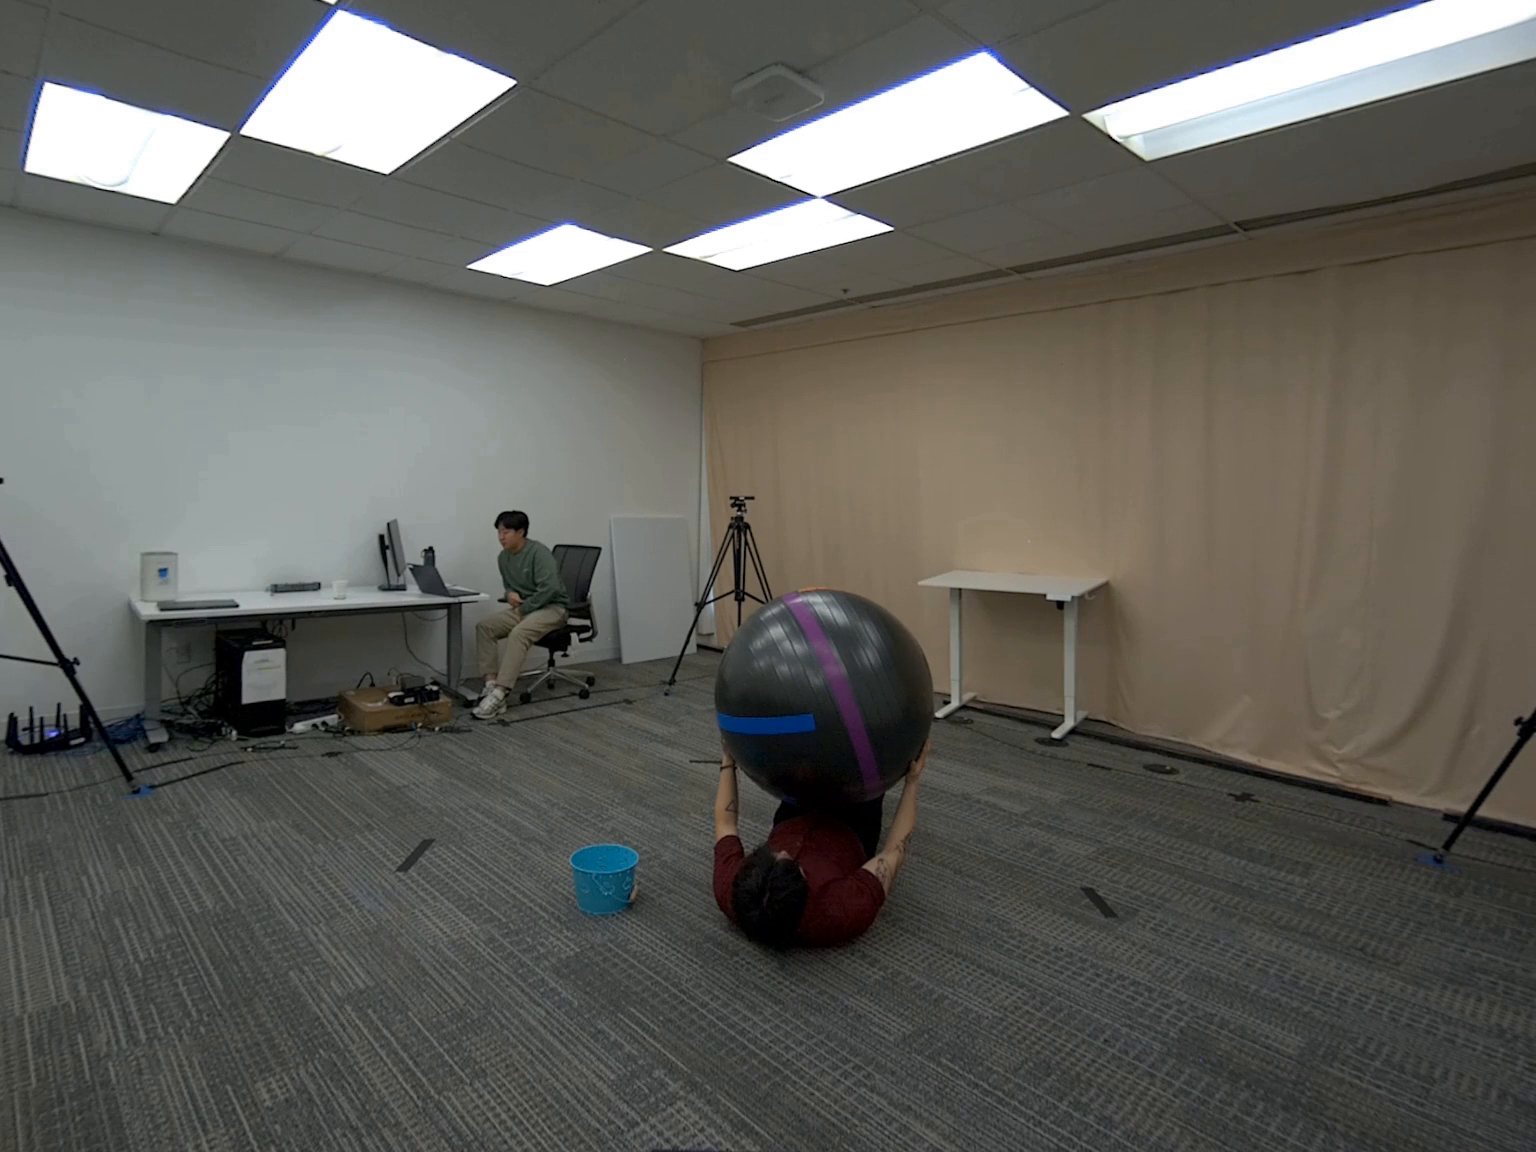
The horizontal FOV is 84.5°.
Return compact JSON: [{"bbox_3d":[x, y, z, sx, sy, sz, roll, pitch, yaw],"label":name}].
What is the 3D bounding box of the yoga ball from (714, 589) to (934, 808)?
[{"bbox_3d":[0.190,0.424,2.959,0.757,0.756,0.761,1,4,-1],"label":"yoga ball"}]
